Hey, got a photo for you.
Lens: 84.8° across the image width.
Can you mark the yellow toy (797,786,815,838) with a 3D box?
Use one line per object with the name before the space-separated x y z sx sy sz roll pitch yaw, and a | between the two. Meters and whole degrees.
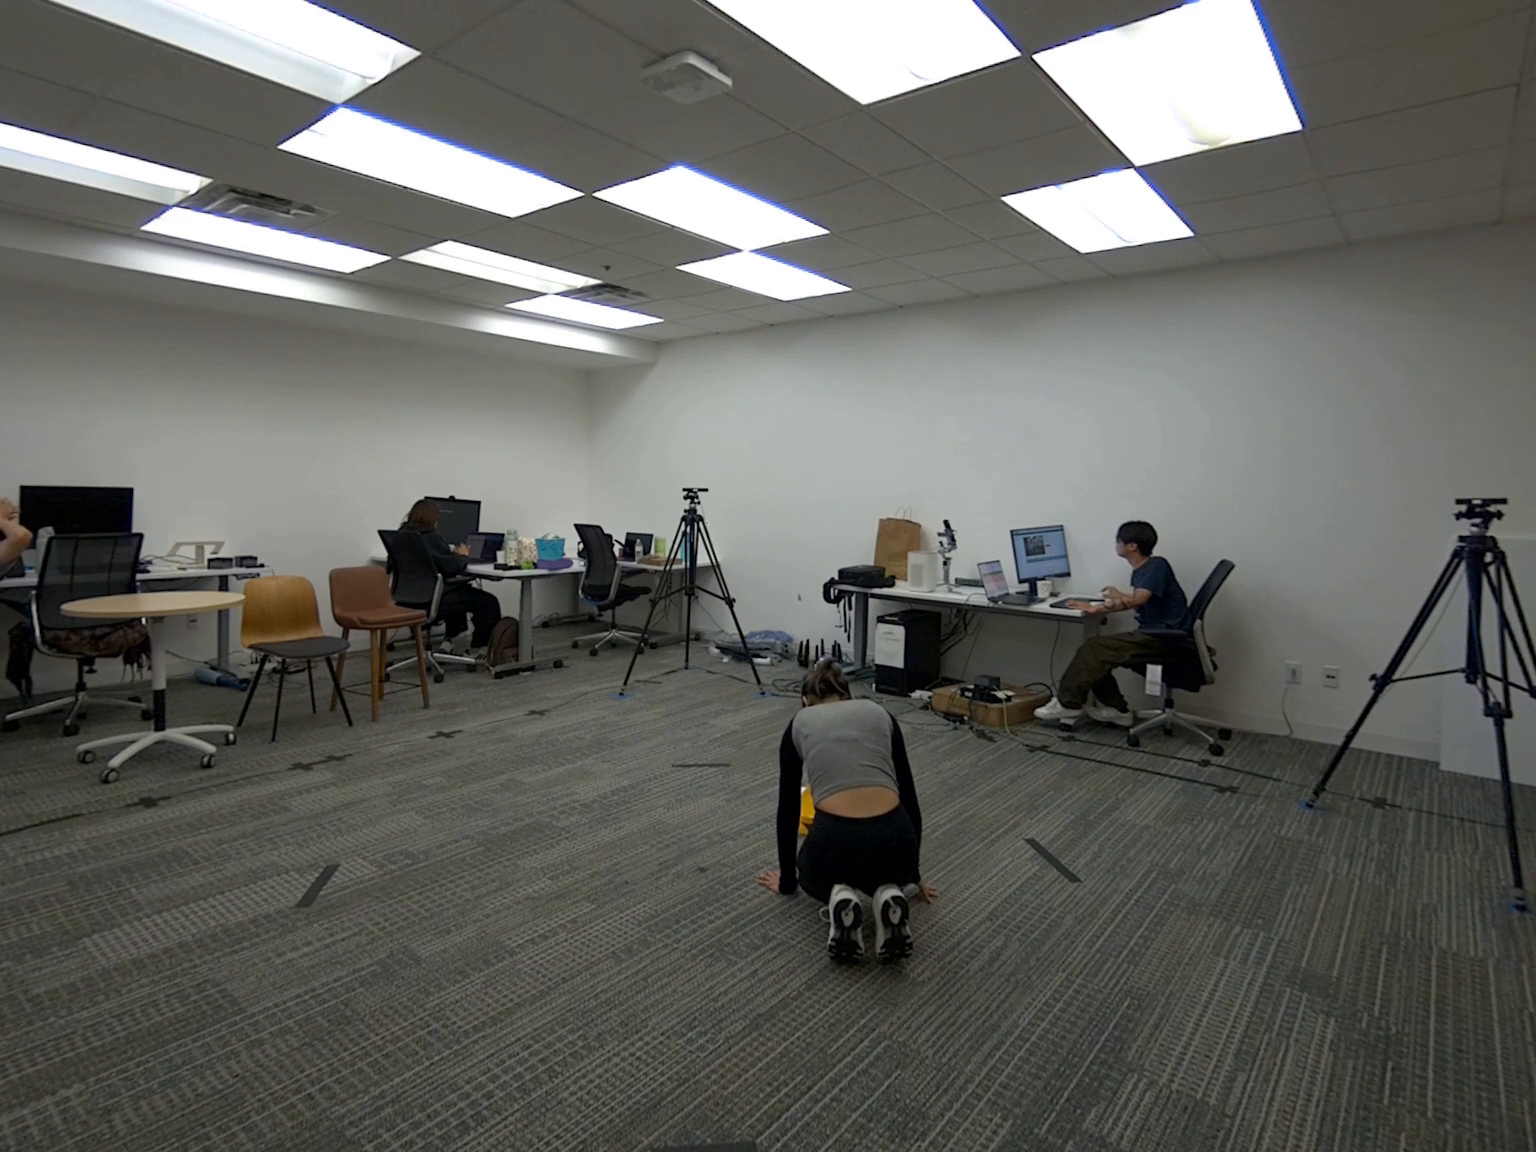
yellow toy | 0.187 0.920 3.504 0.206 0.230 0.193 0 5 4
